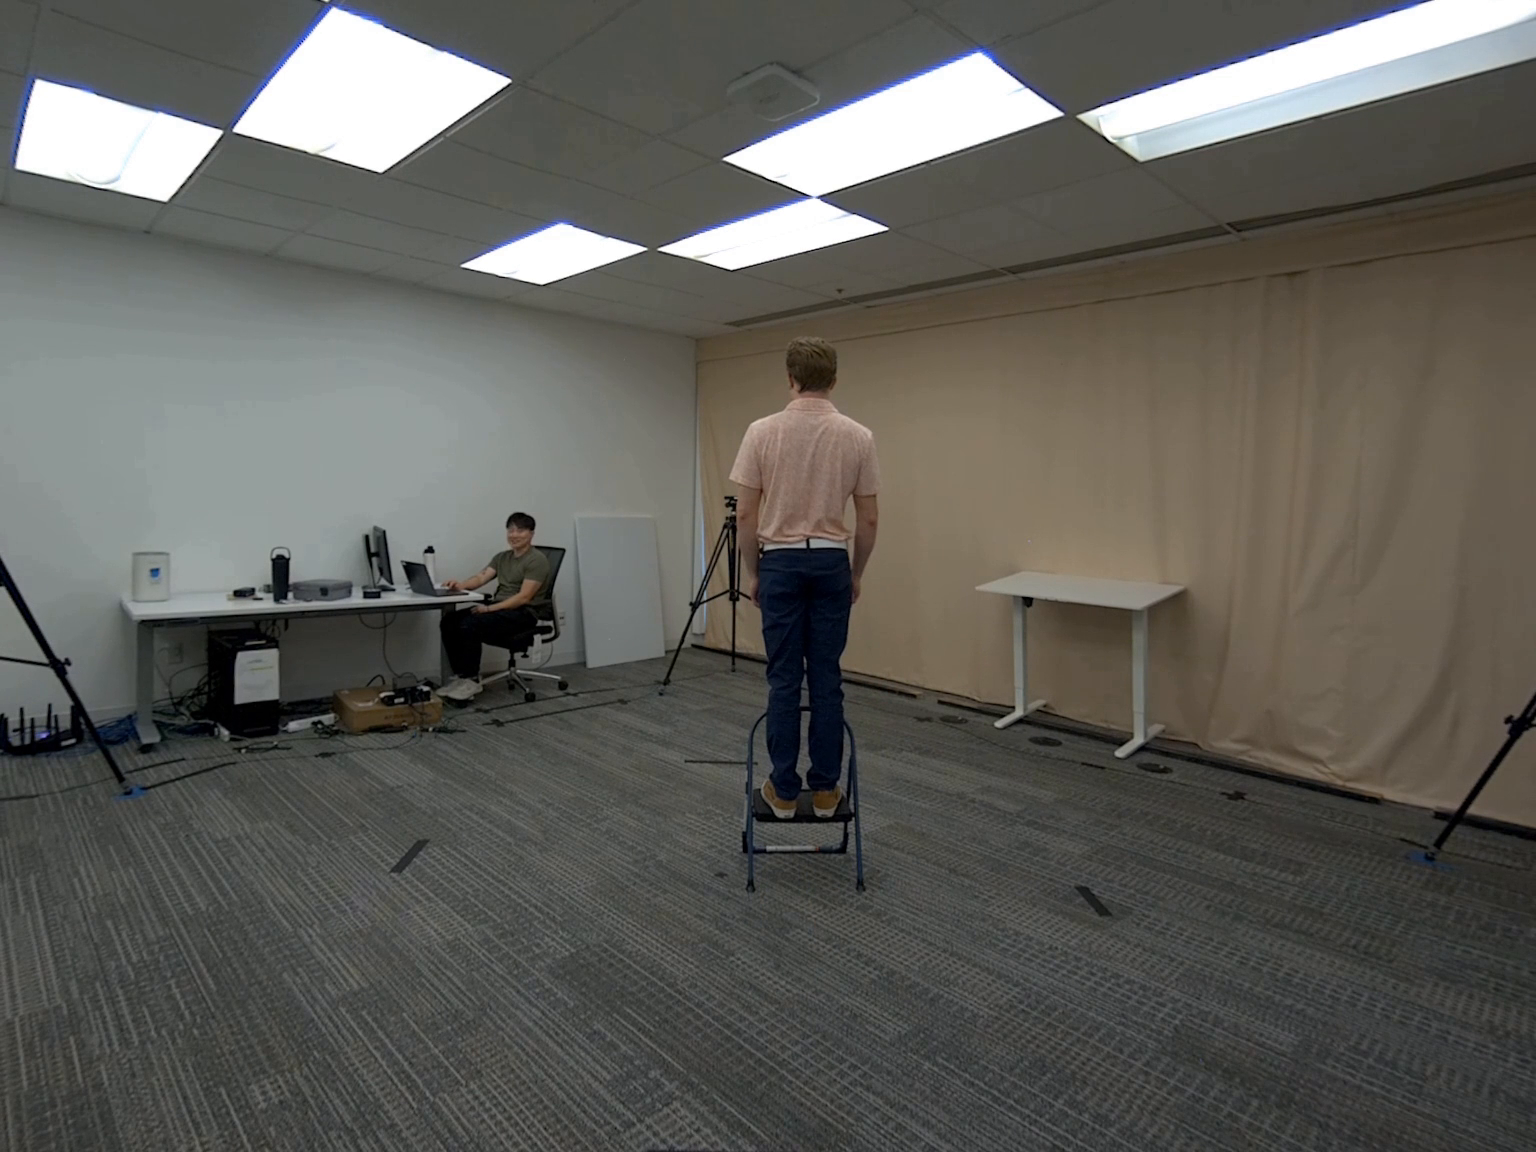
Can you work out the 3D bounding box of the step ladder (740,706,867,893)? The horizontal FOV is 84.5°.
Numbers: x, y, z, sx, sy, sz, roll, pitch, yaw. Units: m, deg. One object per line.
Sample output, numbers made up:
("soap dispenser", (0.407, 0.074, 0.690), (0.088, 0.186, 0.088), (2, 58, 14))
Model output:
("step ladder", (0.122, 0.807, 3.147), (0.429, 0.604, 0.352), (1, 5, -5))
